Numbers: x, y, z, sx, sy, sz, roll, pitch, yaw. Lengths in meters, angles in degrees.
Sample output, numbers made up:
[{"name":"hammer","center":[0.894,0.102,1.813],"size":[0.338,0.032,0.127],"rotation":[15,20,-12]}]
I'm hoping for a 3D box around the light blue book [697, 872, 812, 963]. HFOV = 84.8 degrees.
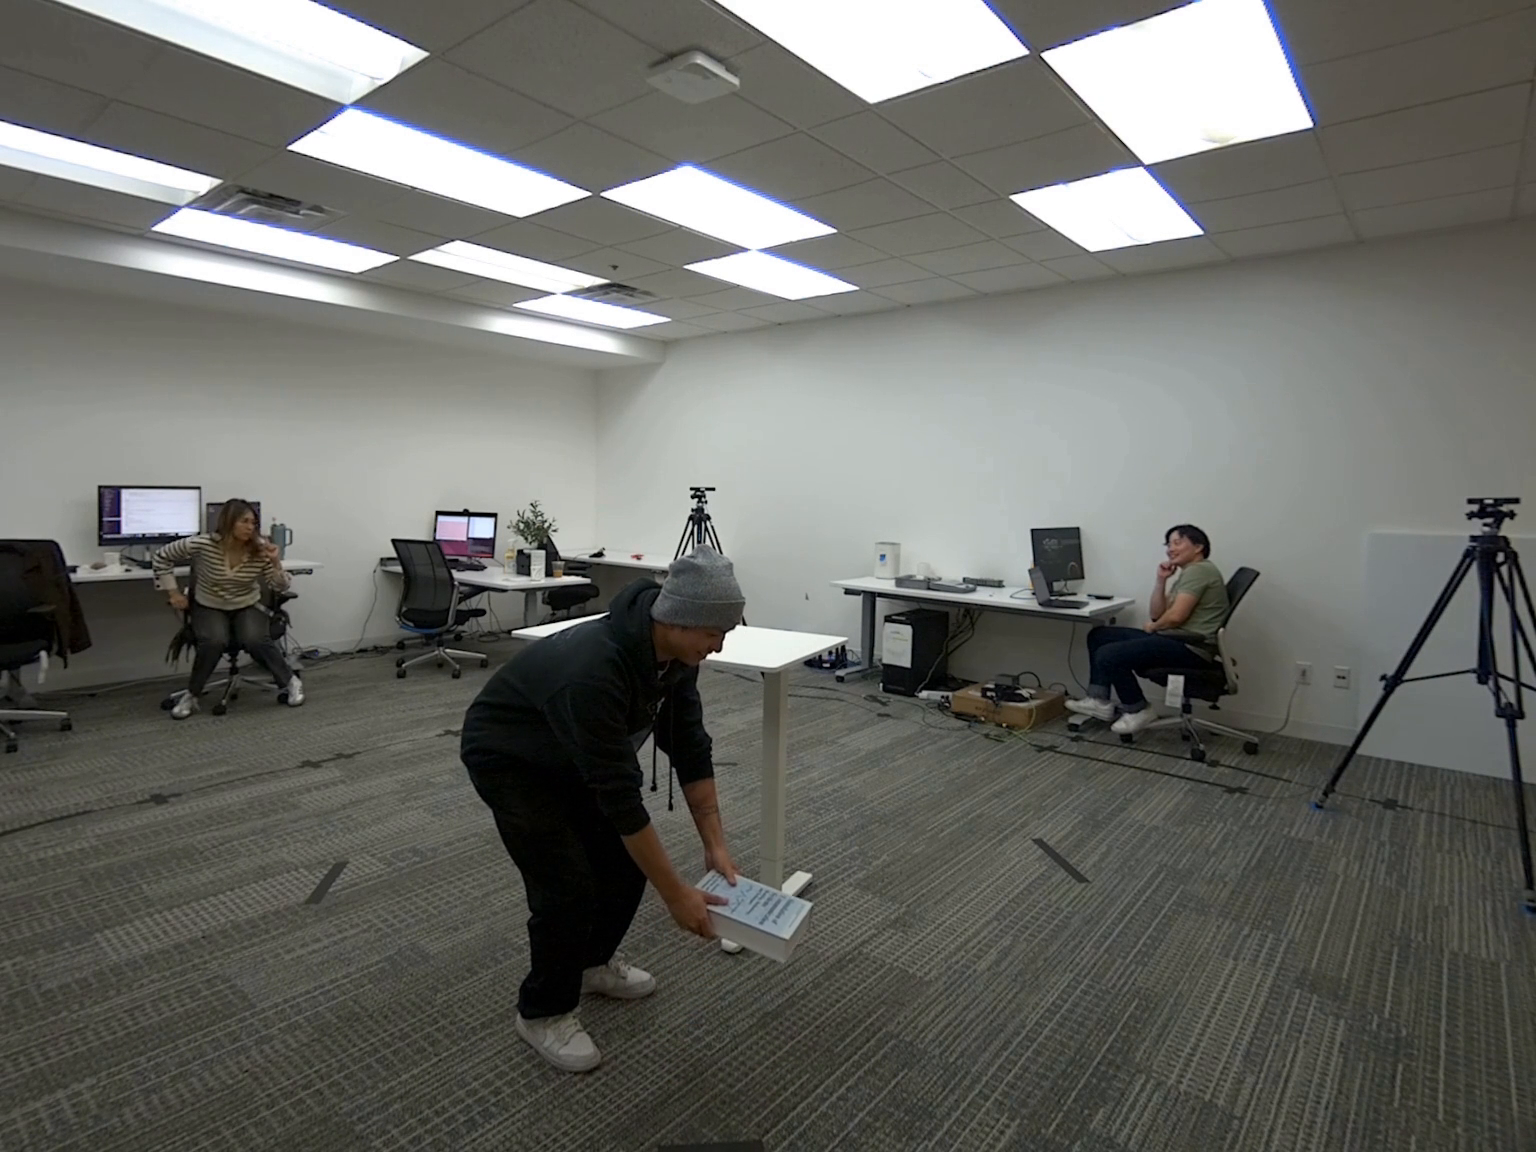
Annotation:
[{"name":"light blue book","center":[-0.047,0.785,1.988],"size":[0.268,0.058,0.187],"rotation":[11,9,22]}]
